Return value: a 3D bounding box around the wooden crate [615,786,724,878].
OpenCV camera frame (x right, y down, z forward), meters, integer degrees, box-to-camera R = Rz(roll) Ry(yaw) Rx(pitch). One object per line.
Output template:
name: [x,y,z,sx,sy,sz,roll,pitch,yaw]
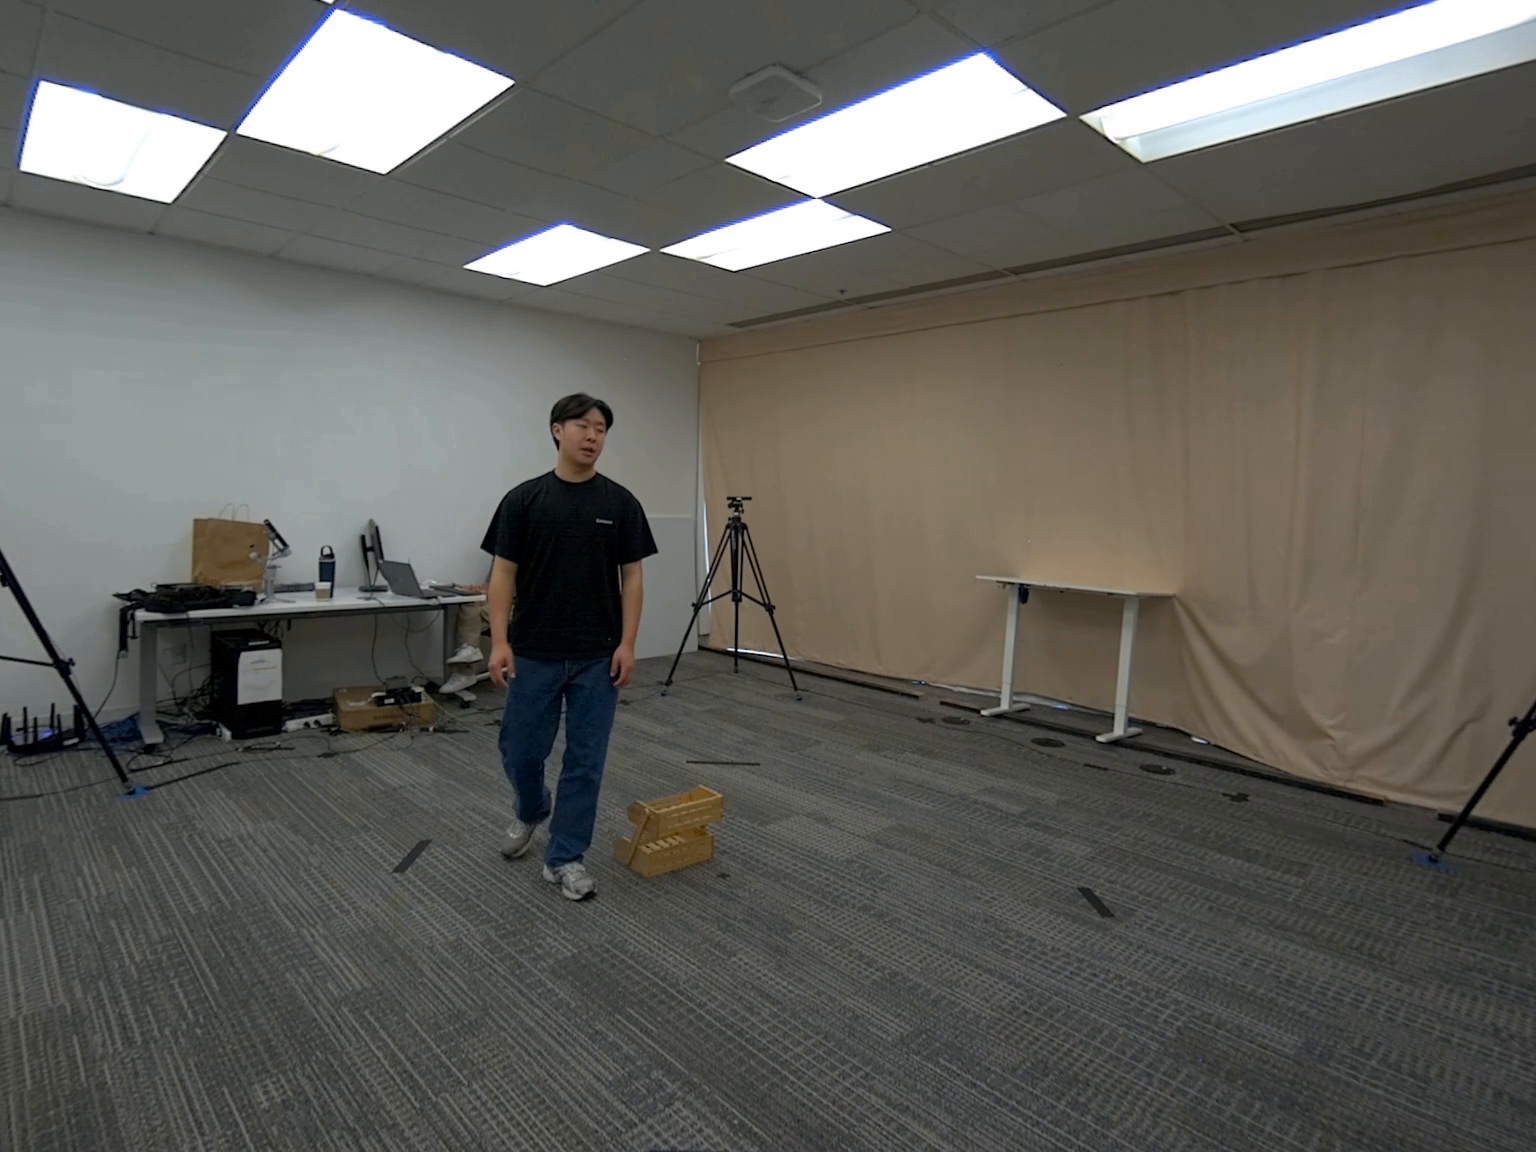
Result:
wooden crate: [-0.392,0.959,3.230,0.317,0.272,0.310,-3,6,-41]
